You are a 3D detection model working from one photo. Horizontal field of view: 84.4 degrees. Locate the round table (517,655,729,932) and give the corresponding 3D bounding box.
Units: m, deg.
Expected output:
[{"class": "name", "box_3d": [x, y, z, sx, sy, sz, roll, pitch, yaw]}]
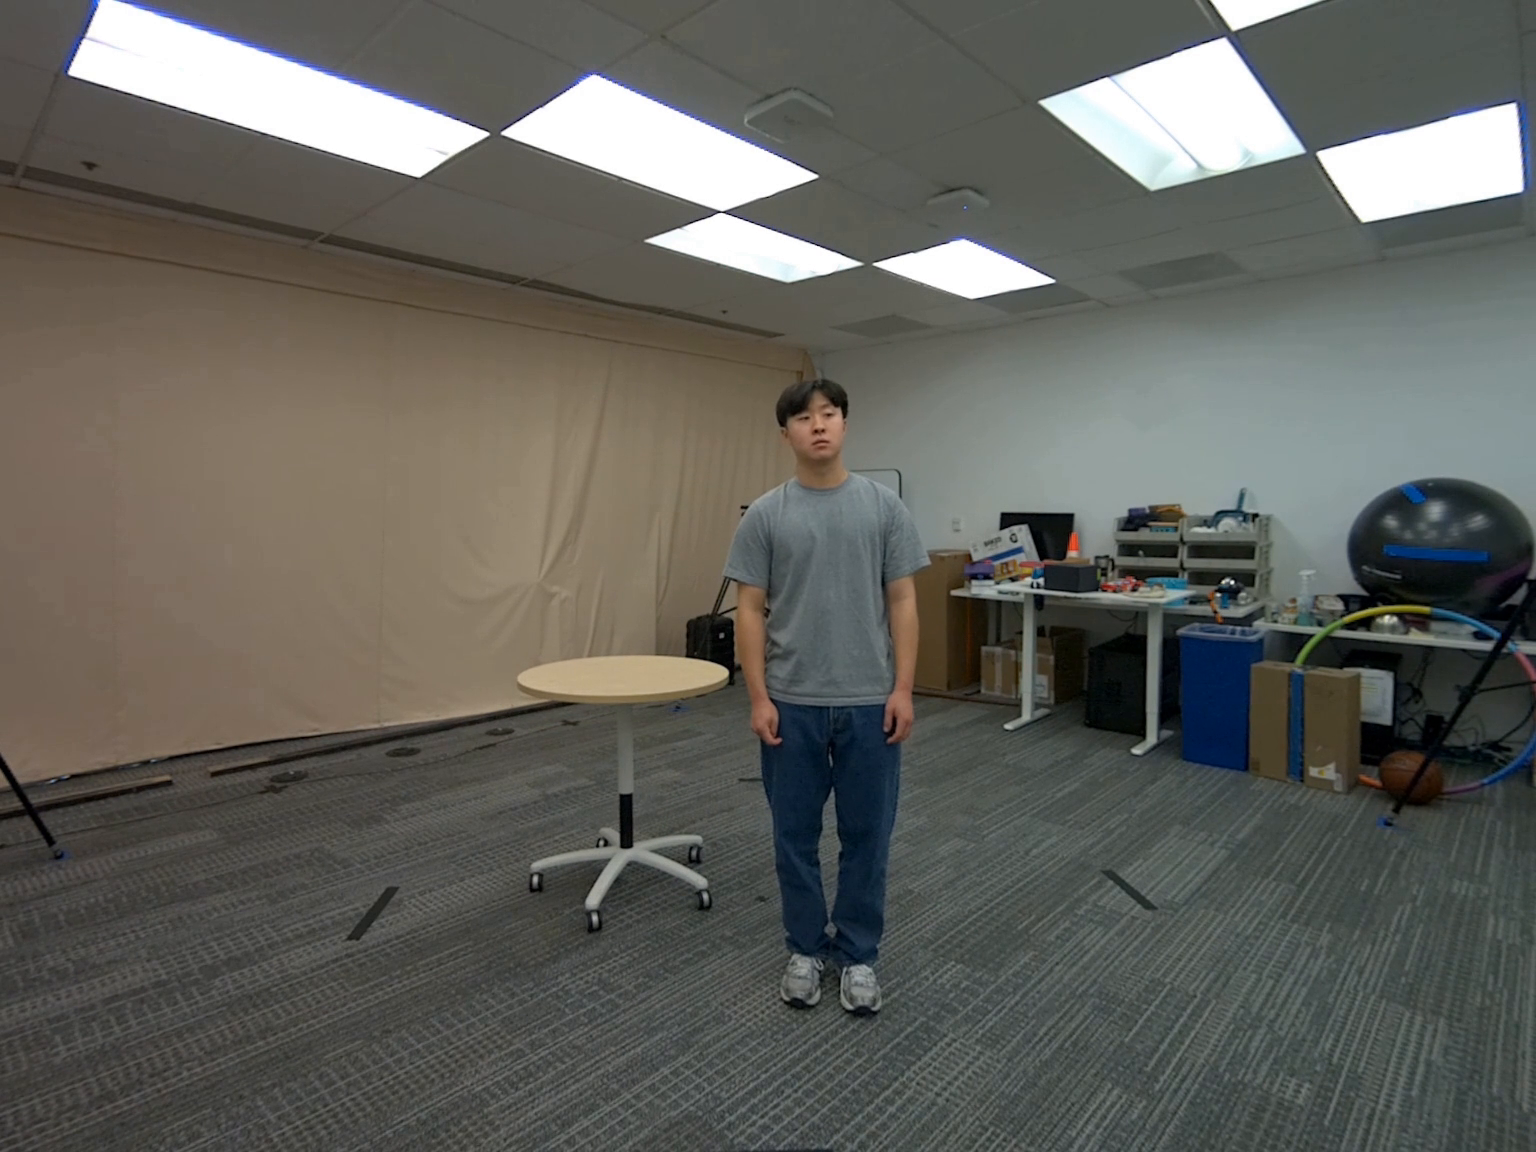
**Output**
[{"class": "round table", "box_3d": [-0.518, 0.749, 3.091, 0.763, 0.792, 0.766, -1, 3, -2]}]
